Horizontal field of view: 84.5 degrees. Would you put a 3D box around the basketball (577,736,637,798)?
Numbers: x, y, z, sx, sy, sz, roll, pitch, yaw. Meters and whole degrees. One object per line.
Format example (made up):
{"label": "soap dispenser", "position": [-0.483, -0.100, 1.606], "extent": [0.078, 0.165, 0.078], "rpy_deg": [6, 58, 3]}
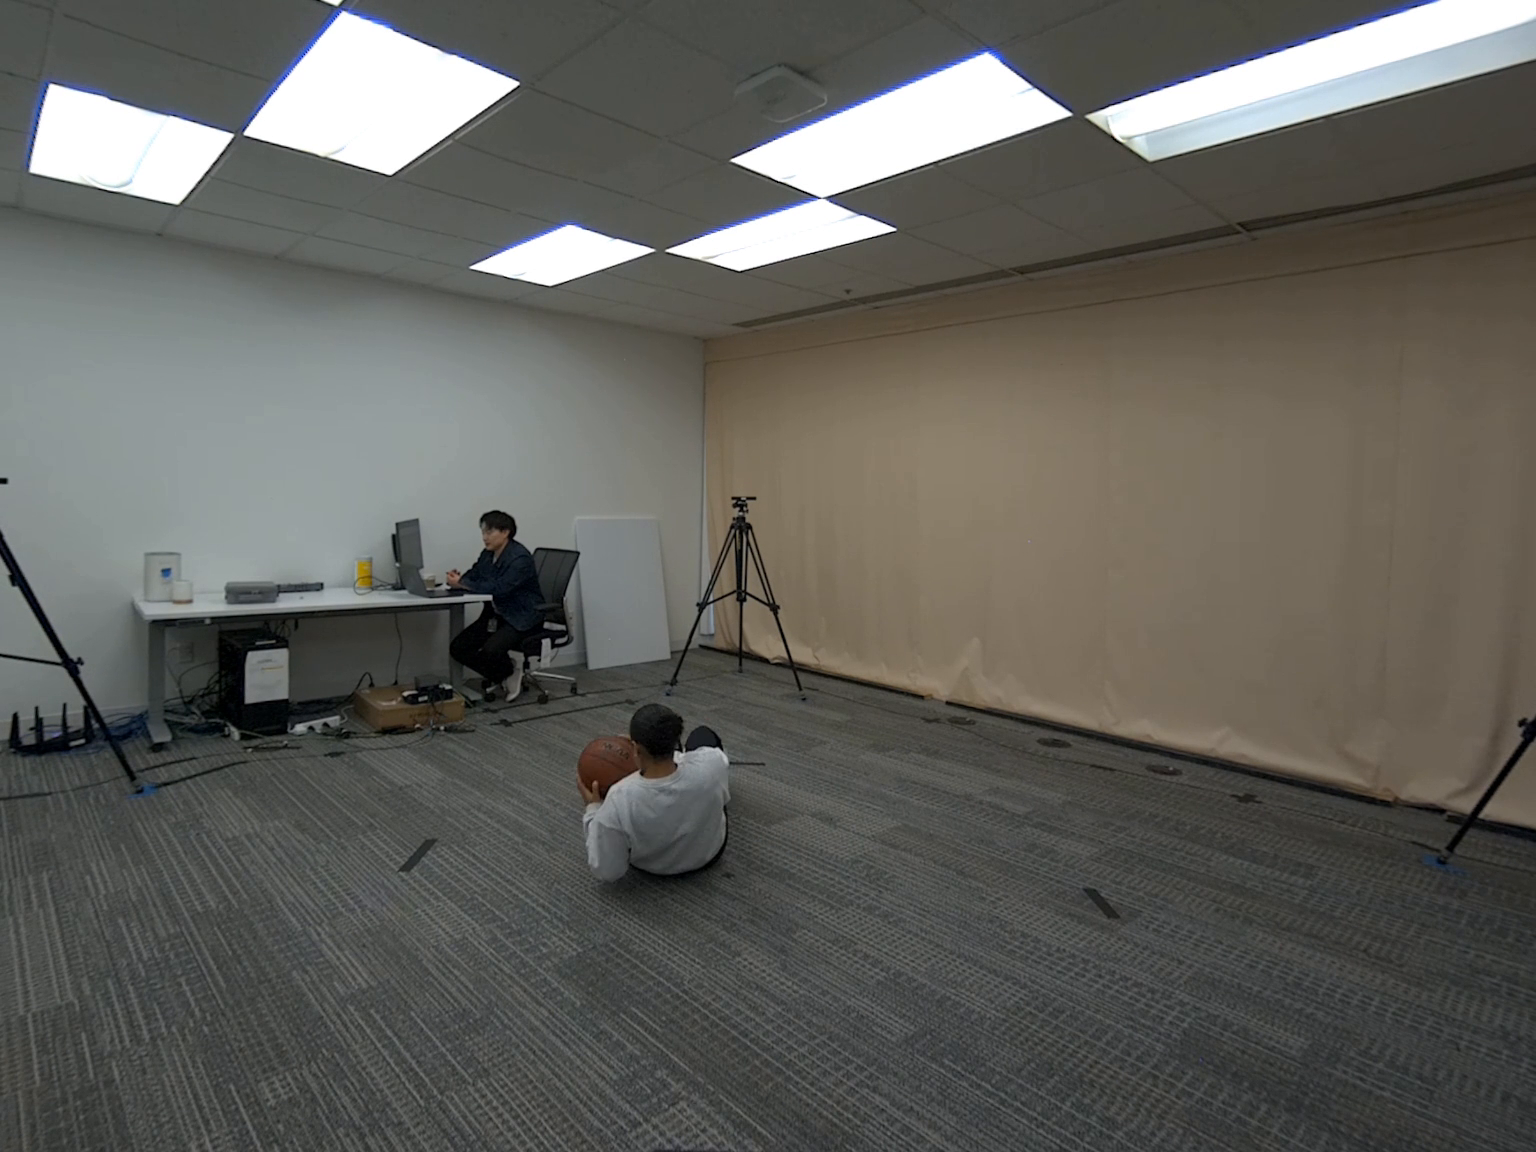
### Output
{"label": "basketball", "position": [-0.586, 0.727, 3.187], "extent": [0.236, 0.235, 0.237], "rpy_deg": [1, 4, -1]}
